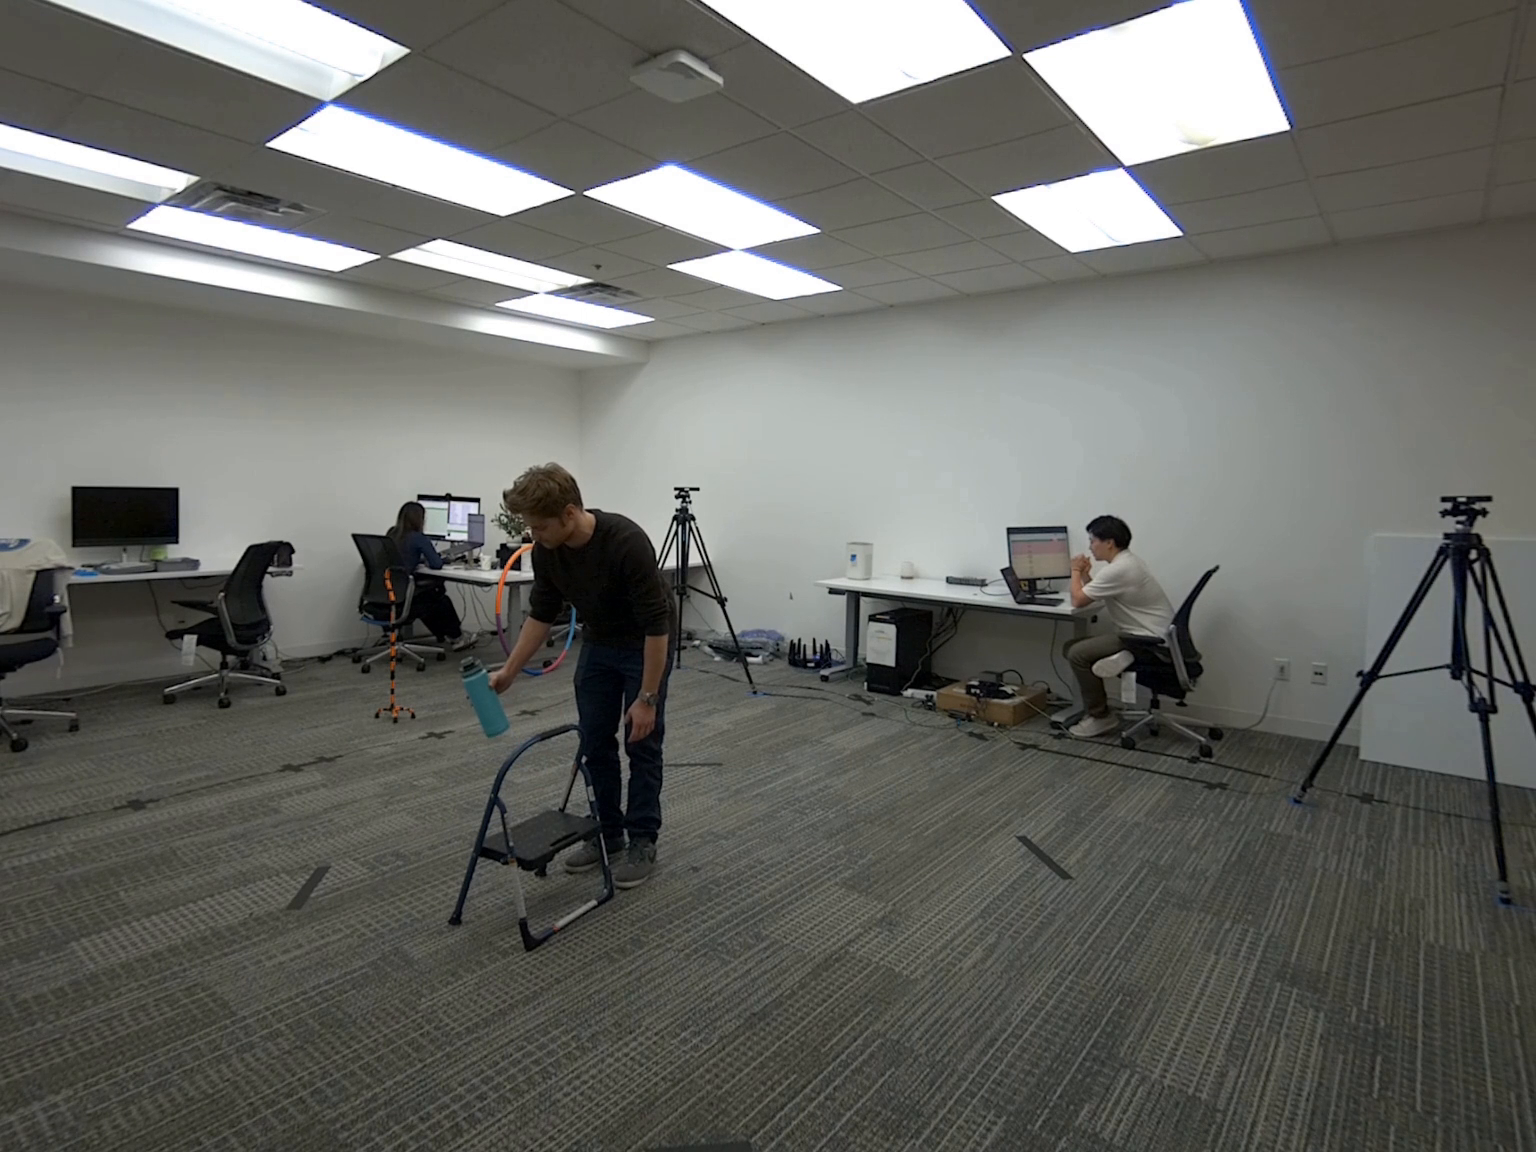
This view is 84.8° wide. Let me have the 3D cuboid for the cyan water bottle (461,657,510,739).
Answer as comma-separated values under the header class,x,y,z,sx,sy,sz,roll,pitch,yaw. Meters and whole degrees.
class,x,y,z,sx,sy,sz,roll,pitch,yaw
cyan water bottle,-0.994,0.414,2.943,0.092,0.281,0.093,-18,7,1
